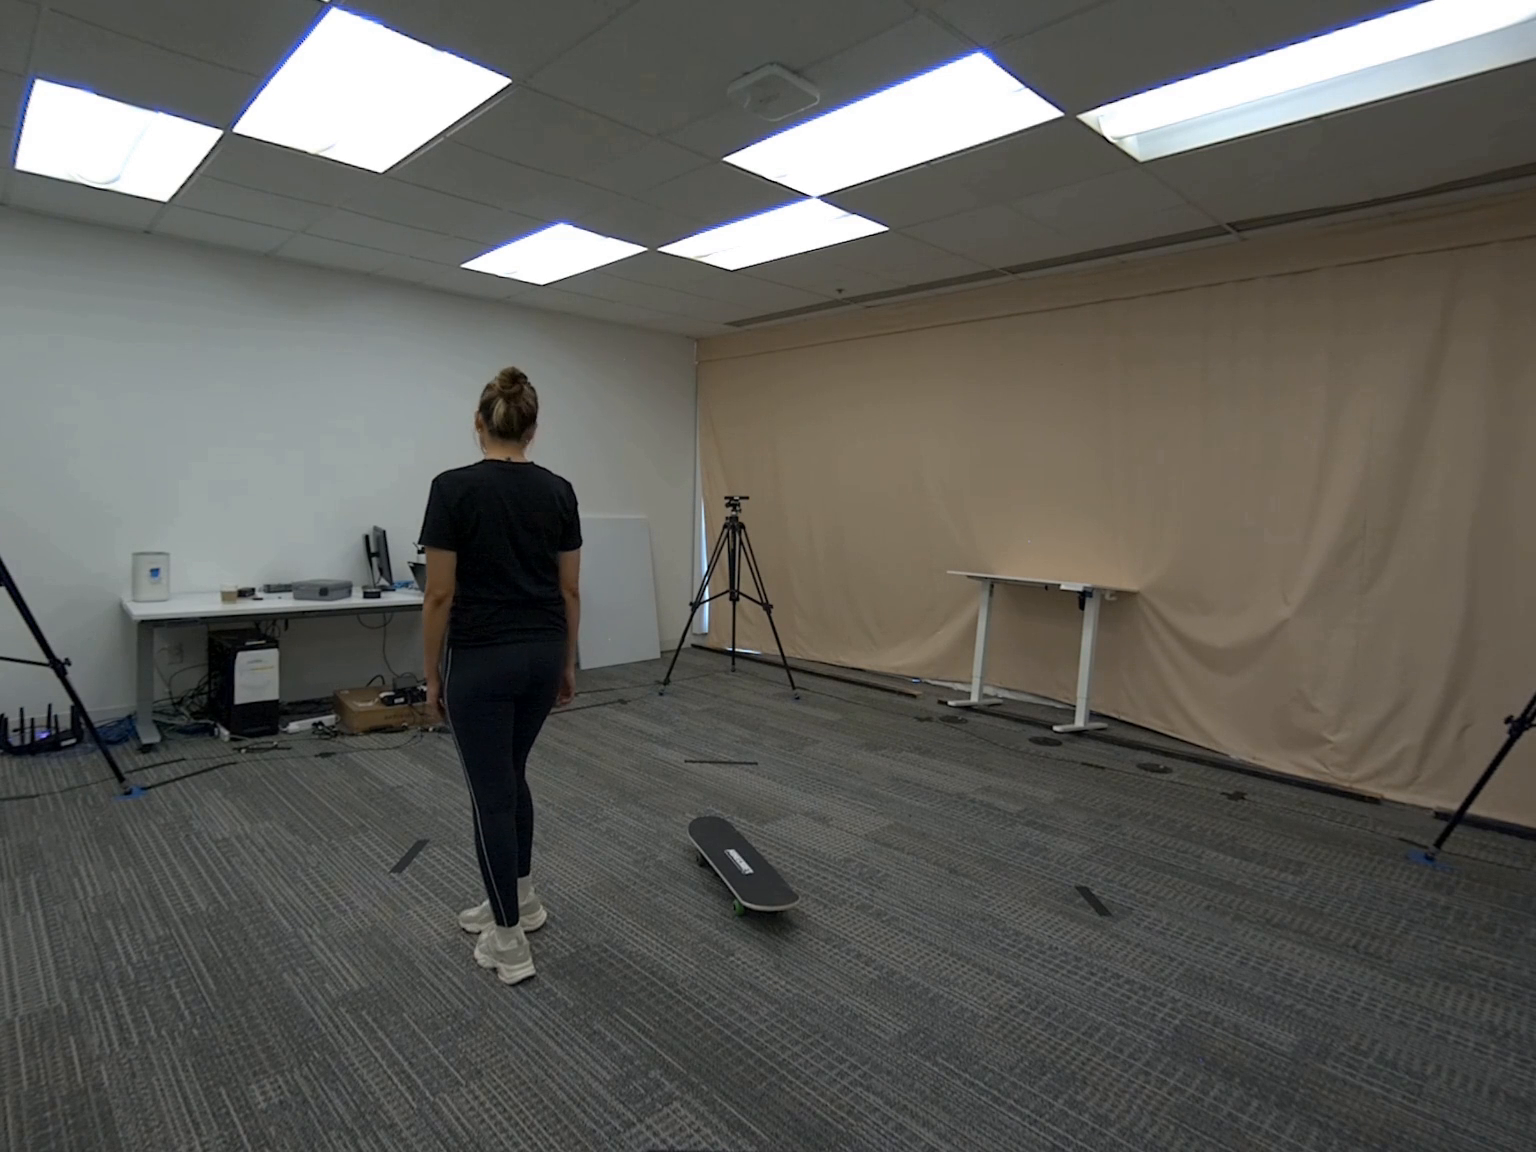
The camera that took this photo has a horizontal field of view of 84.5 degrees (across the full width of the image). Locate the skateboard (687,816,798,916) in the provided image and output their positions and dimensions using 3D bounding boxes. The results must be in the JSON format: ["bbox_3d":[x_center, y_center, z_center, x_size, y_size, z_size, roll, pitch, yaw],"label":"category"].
[{"bbox_3d":[-0.114,1.054,3.019,0.190,0.110,0.800,-2,6,-22],"label":"skateboard"}]
